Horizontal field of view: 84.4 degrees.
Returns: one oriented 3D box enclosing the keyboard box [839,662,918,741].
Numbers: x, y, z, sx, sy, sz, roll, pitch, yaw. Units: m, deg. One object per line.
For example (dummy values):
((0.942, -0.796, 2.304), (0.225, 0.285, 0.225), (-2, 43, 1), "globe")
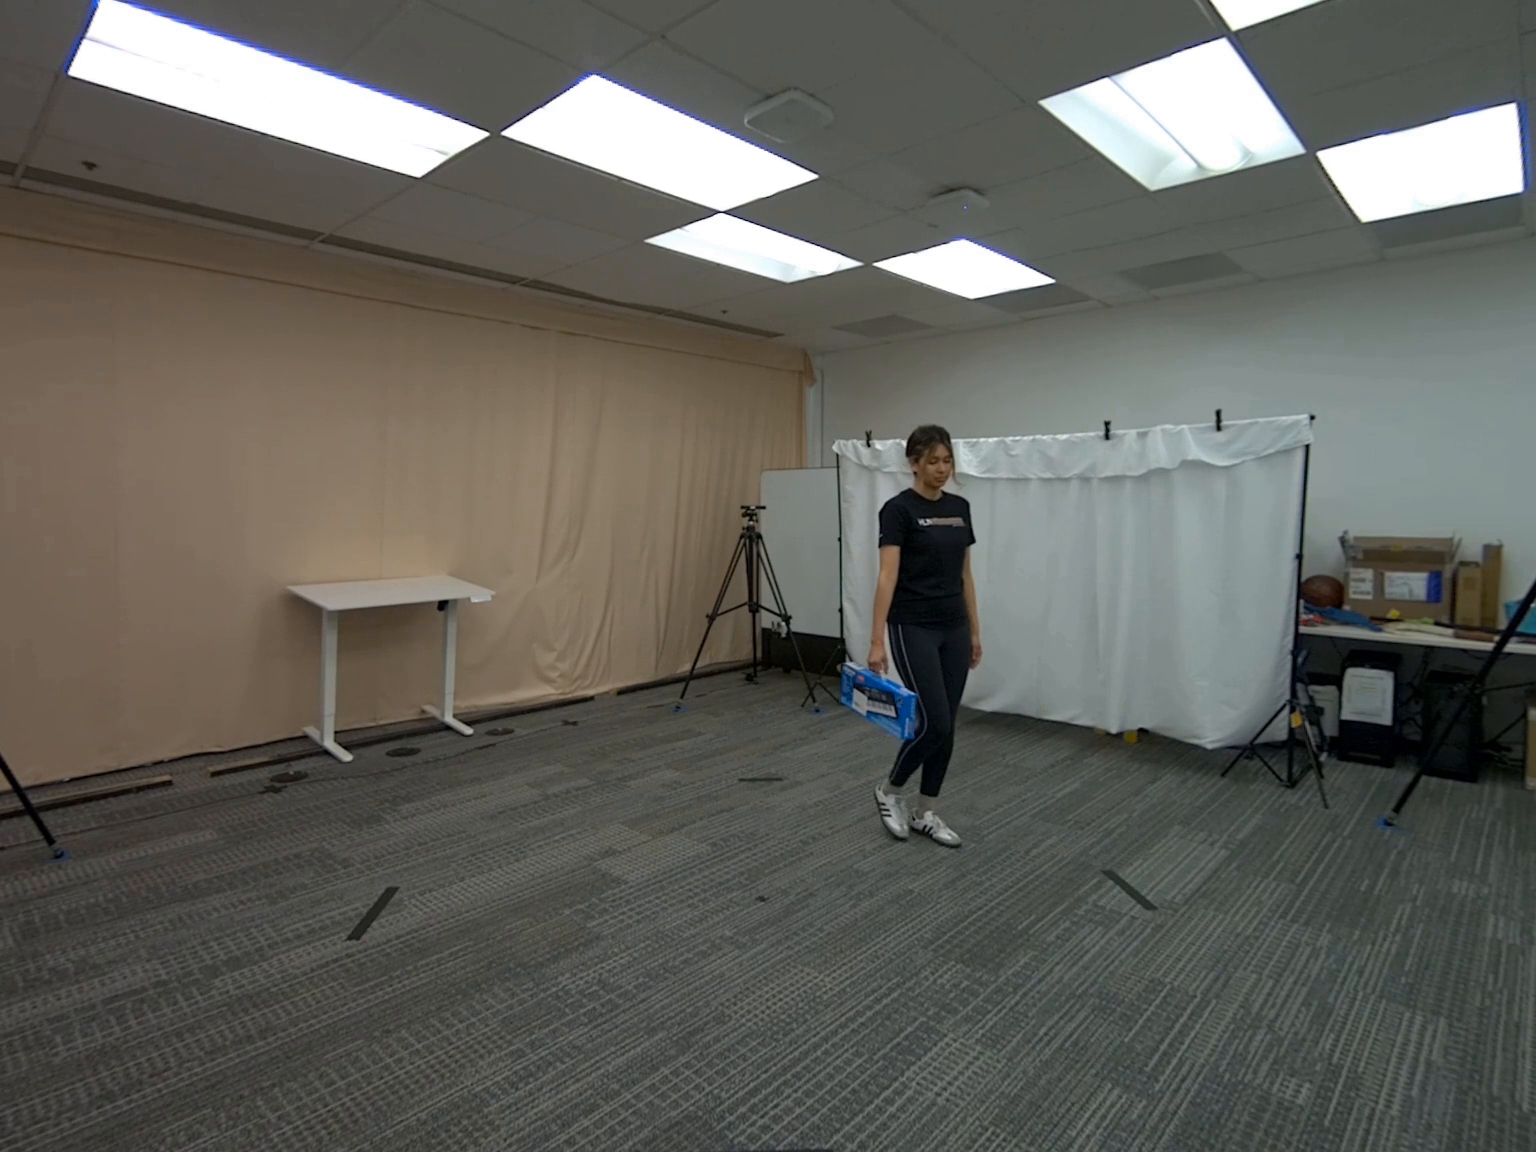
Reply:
((0.428, 0.485, 3.319), (0.058, 0.175, 0.450), (-1, 11, -25), "keyboard box")
